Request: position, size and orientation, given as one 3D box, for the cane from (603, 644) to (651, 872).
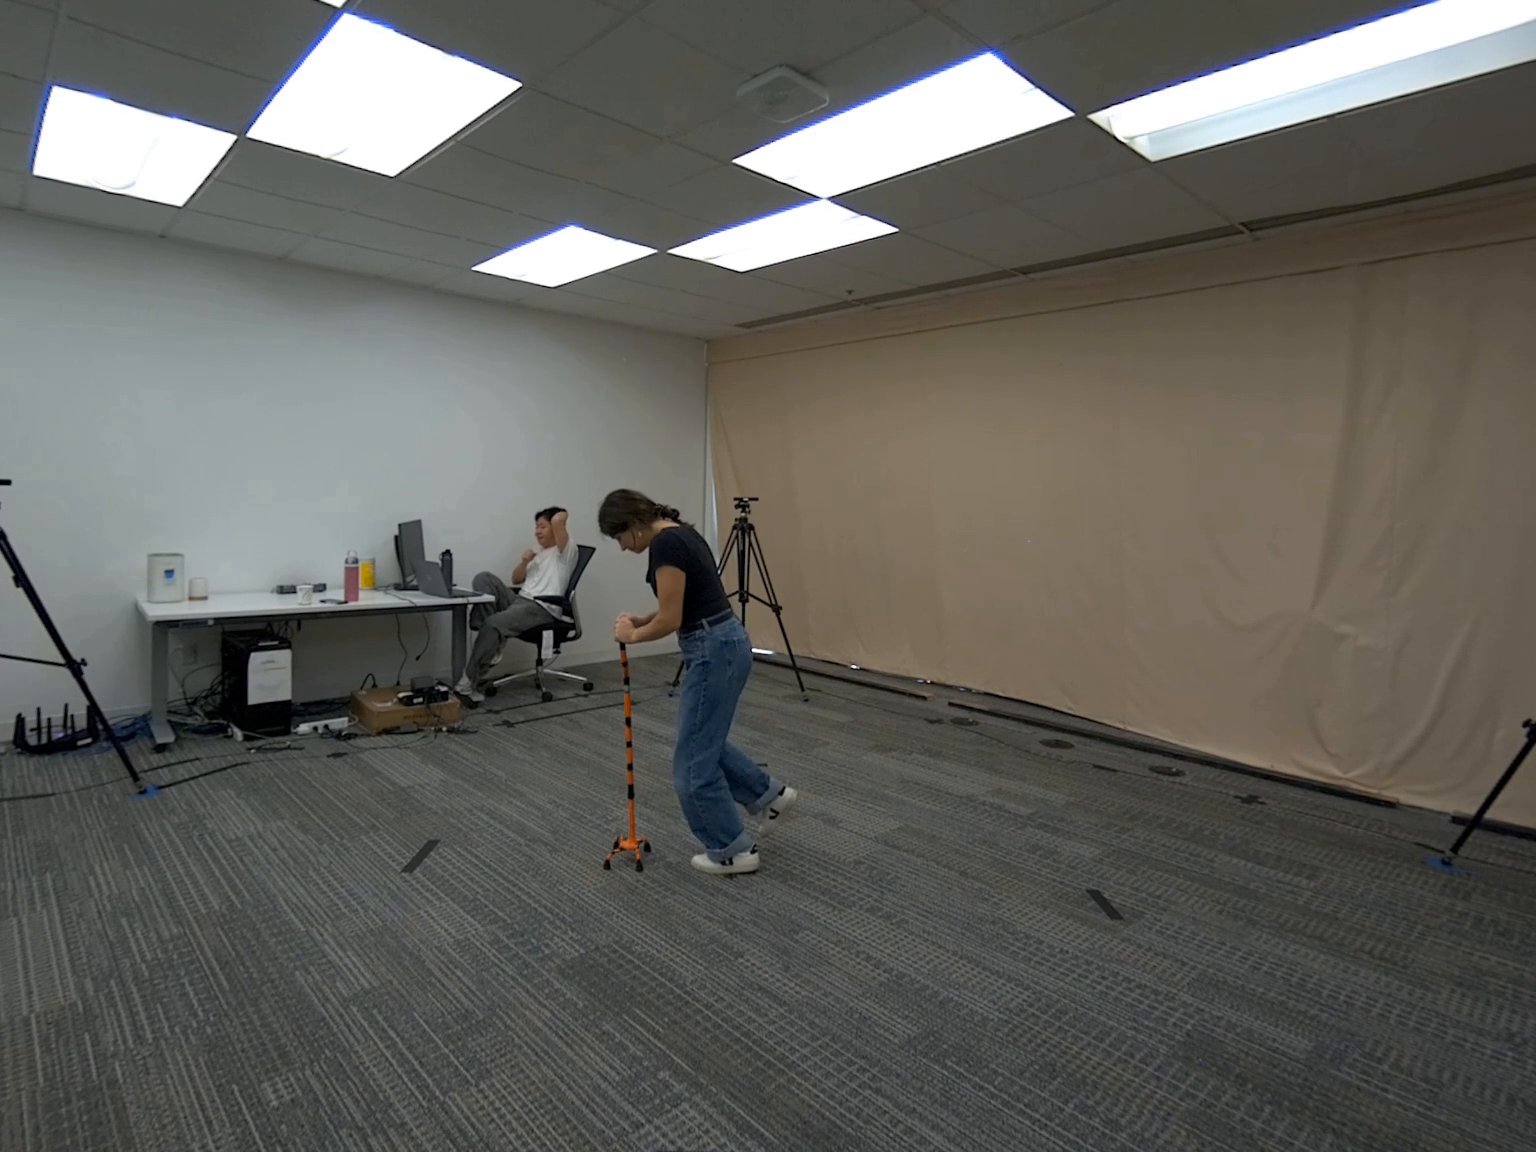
[{"bbox_3d":[-0.545,0.627,3.205,0.152,0.906,0.206,0,3,3],"label":"cane"}]
